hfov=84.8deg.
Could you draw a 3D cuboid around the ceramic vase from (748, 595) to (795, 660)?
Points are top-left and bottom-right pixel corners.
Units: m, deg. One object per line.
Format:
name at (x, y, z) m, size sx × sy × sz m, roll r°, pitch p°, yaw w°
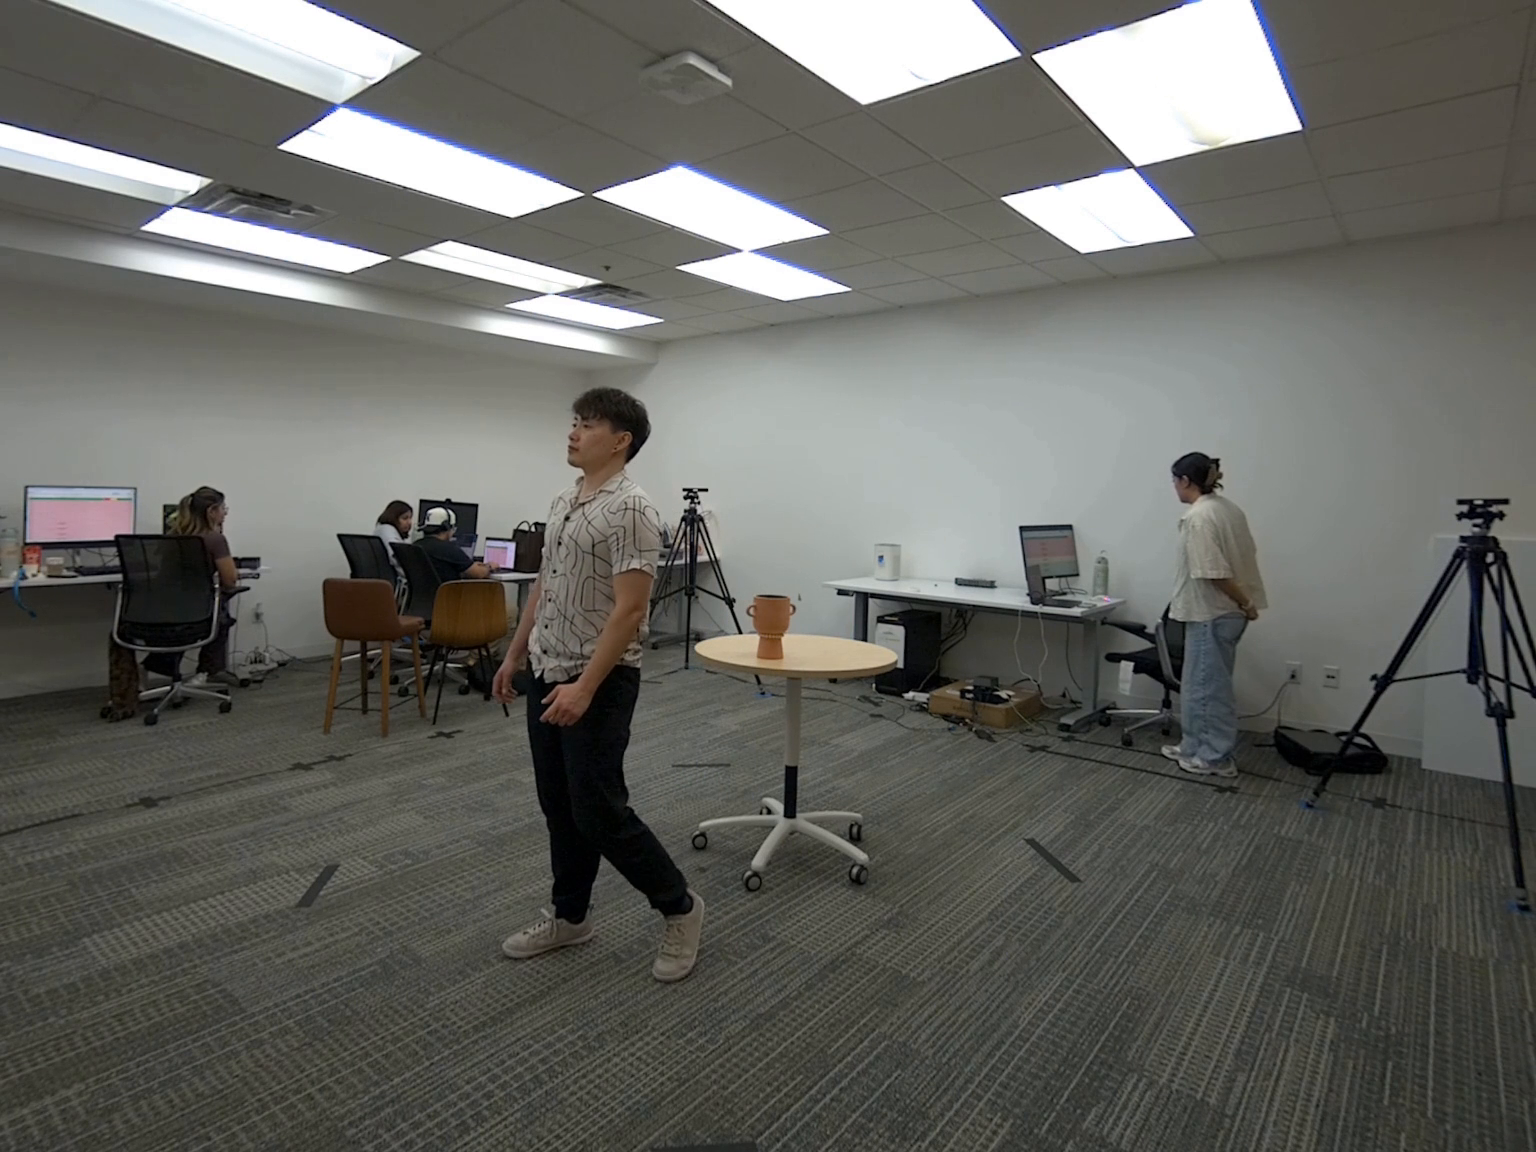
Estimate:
ceramic vase at (0.006, 0.182, 3.075) m, size 0.161 × 0.219 × 0.133 m, roll 2°, pitch 3°, yaw 14°
